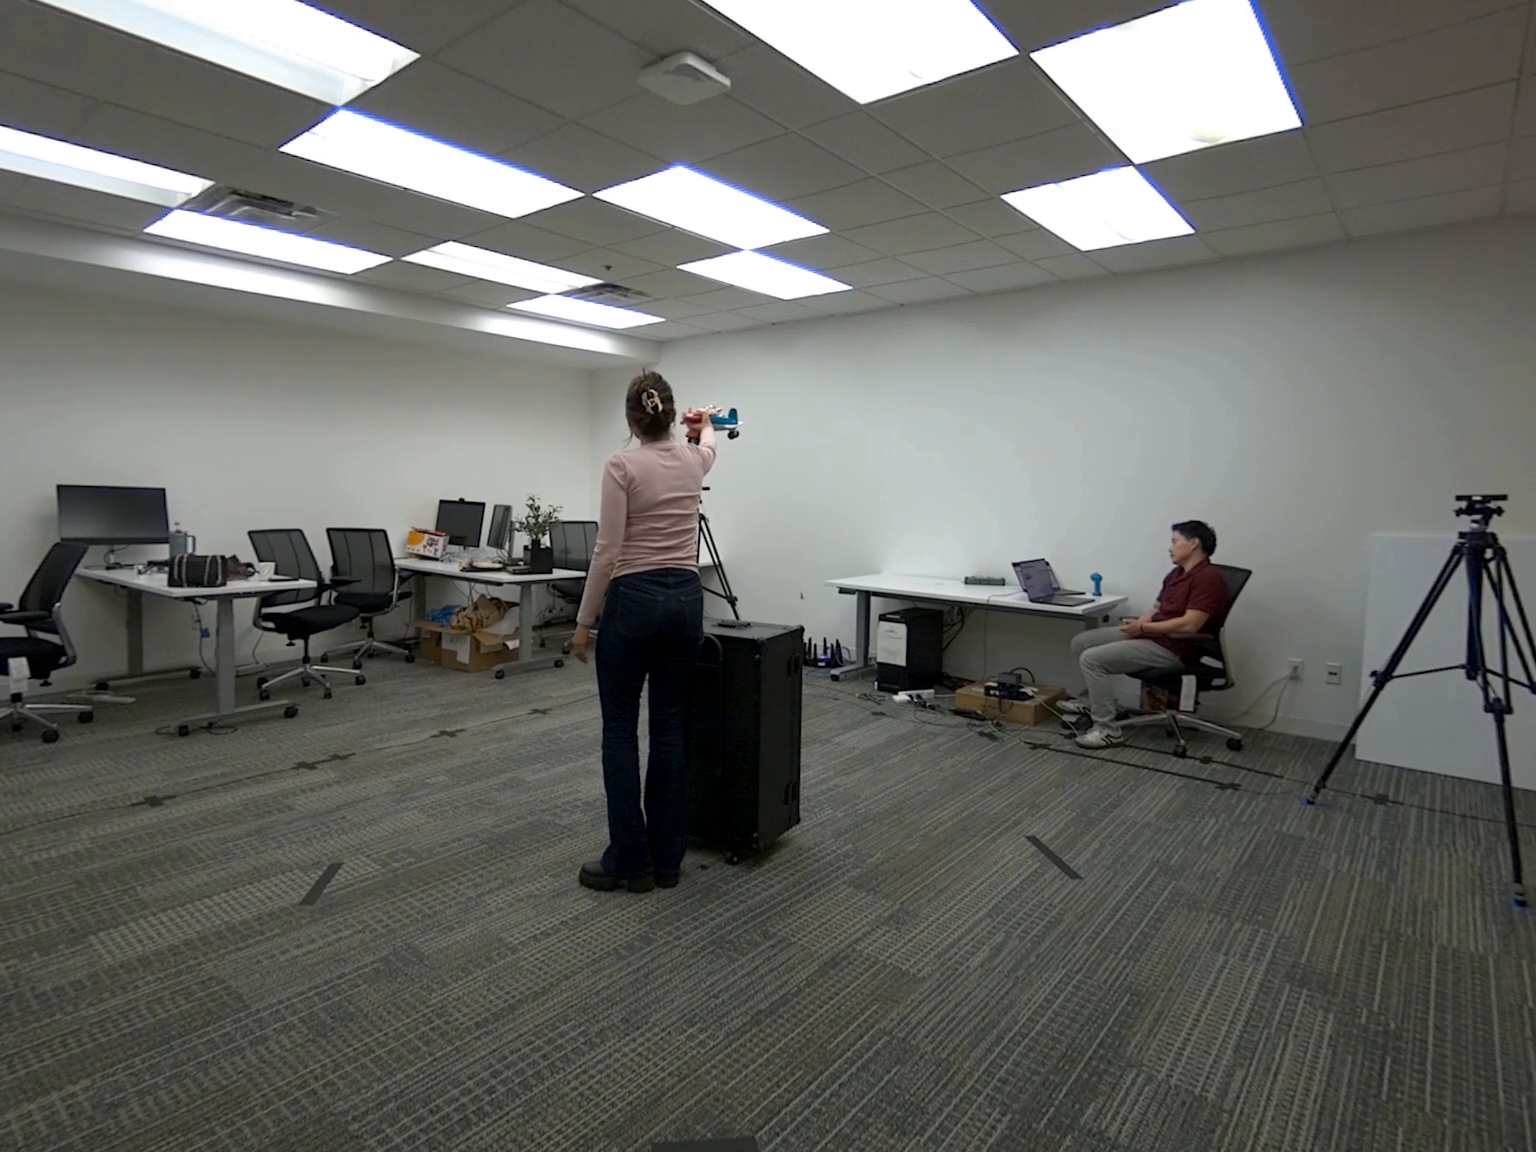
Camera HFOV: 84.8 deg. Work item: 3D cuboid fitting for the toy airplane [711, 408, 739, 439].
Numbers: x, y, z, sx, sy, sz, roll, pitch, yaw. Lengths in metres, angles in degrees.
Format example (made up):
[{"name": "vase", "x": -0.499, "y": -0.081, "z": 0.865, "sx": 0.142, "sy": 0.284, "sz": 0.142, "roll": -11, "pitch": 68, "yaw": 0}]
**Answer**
[{"name": "toy airplane", "x": -0.241, "y": -0.672, "z": 3.734, "sx": 0.259, "sy": 0.154, "sz": 0.255, "roll": -14, "pitch": 16, "yaw": 1}]
